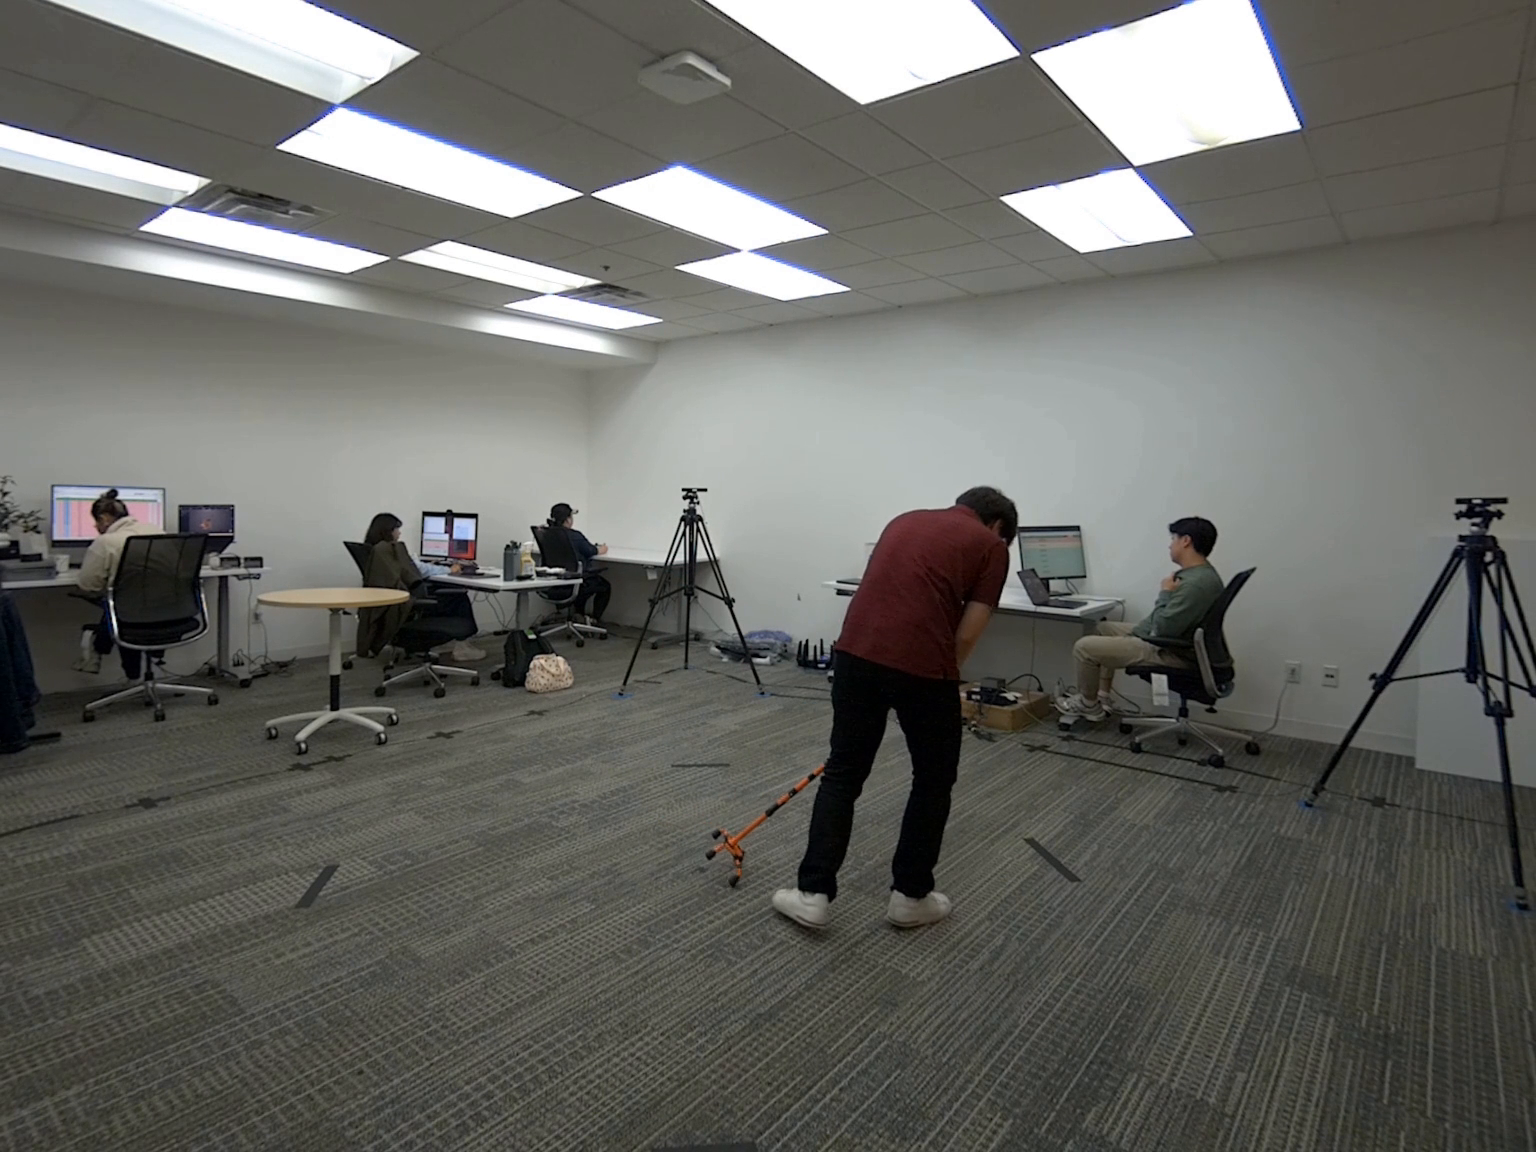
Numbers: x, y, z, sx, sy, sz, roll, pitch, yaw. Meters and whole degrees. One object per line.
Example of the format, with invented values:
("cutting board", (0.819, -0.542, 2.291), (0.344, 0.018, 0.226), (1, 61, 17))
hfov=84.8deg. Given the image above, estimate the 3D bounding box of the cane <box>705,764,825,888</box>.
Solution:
("cane", (0.152, 0.723, 3.020), (0.909, 0.152, 0.206), (-41, 1, 6))
